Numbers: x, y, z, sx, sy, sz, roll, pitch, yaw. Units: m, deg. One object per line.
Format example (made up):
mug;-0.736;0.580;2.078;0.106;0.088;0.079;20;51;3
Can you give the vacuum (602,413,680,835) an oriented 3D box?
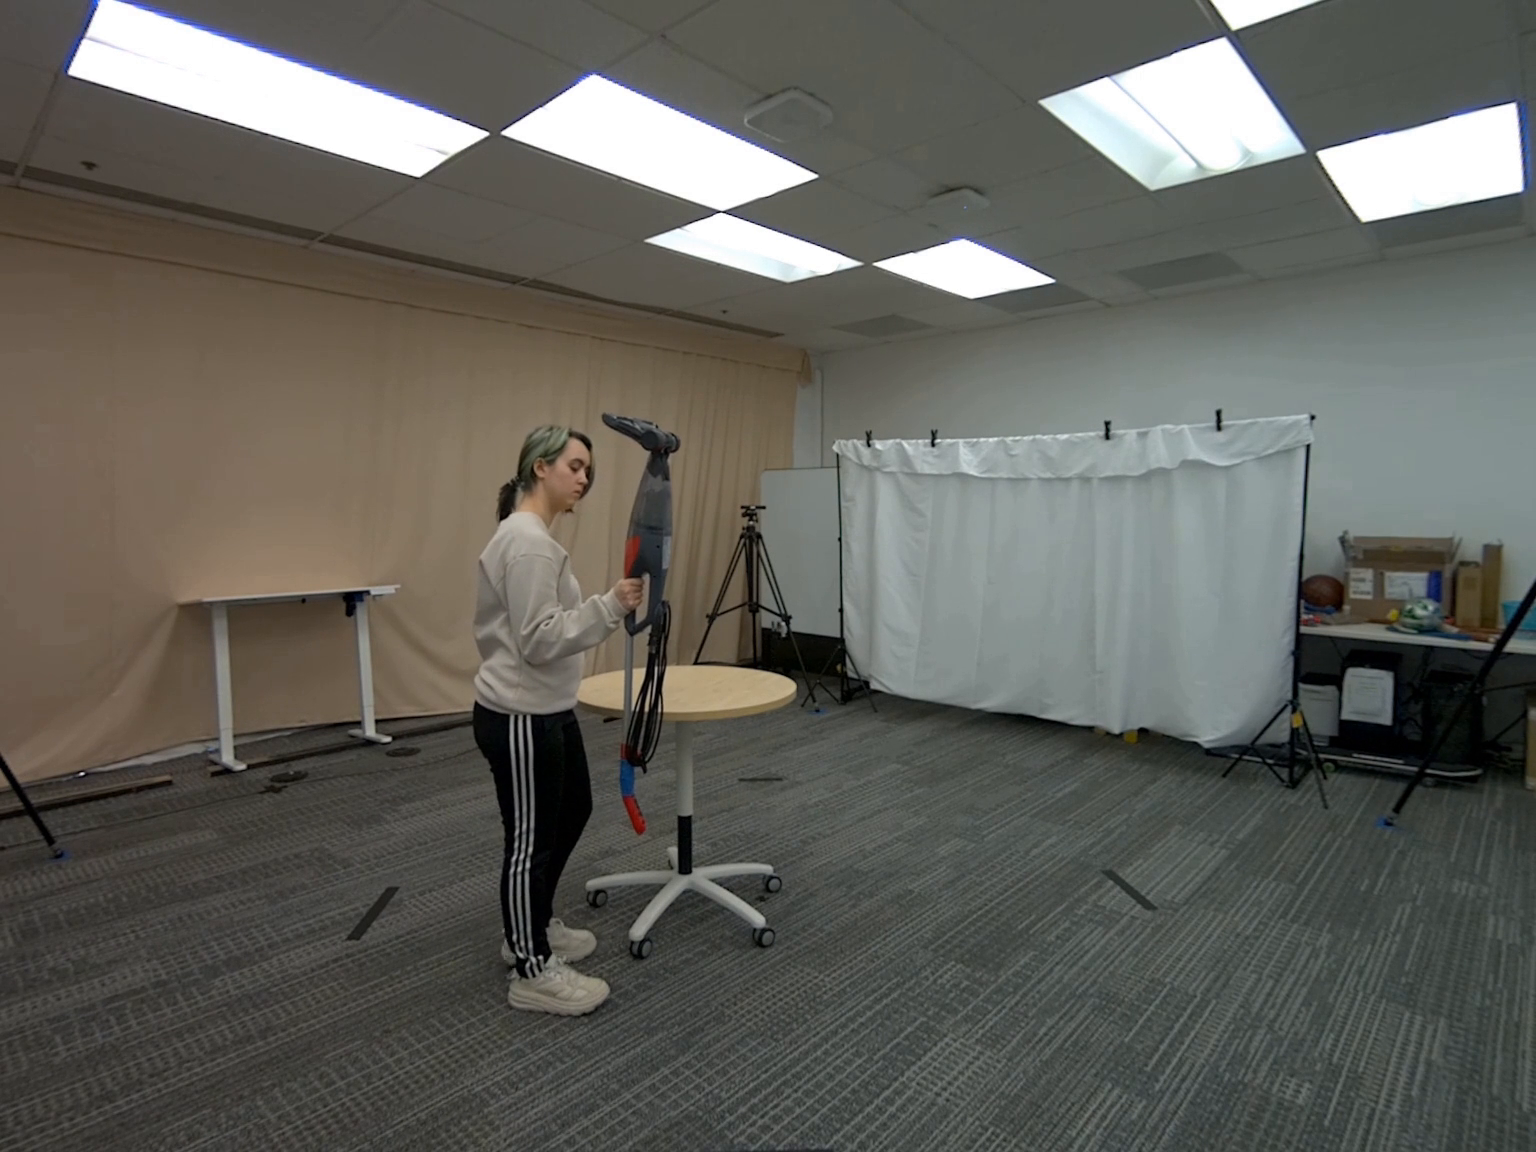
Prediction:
vacuum;-0.316;0.138;2.162;0.147;1.047;0.247;2;3;22
